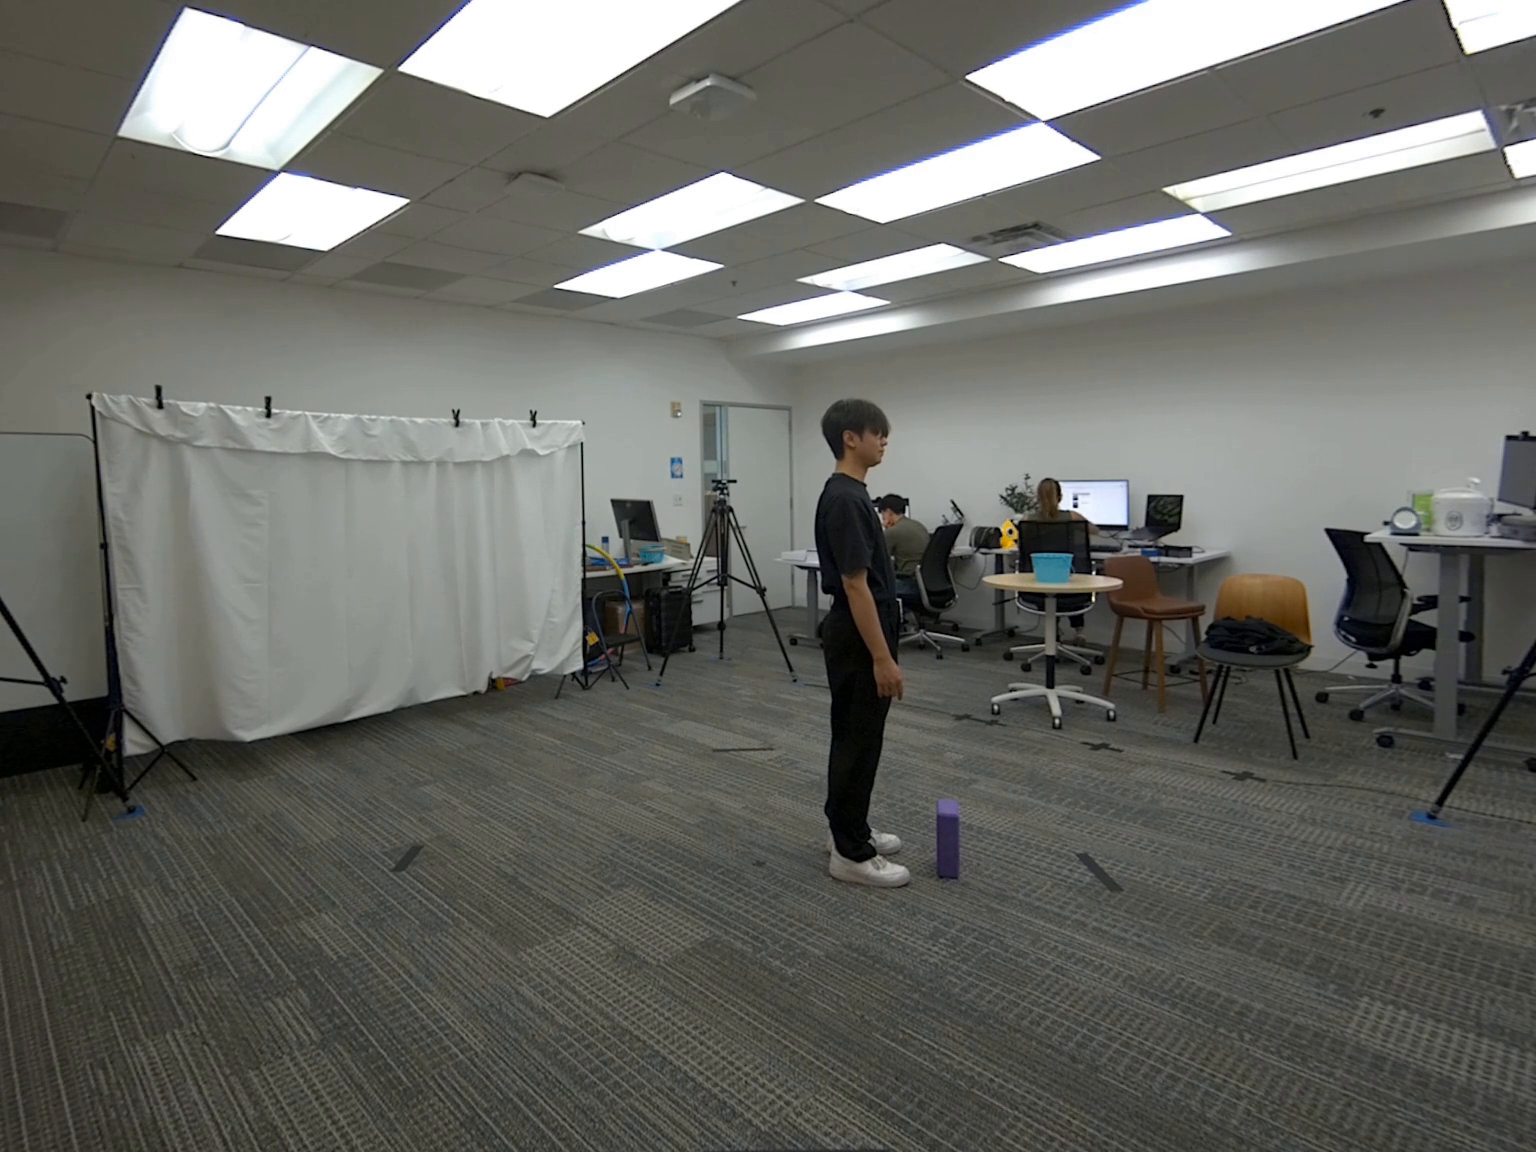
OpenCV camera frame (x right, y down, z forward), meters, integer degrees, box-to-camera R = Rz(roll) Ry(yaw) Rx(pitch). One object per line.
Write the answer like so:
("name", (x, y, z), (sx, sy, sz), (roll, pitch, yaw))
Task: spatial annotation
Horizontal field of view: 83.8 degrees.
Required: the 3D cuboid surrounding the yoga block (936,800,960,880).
("yoga block", (0.629, 0.926, 3.022), (0.077, 0.228, 0.148), (1, 5, 9))
